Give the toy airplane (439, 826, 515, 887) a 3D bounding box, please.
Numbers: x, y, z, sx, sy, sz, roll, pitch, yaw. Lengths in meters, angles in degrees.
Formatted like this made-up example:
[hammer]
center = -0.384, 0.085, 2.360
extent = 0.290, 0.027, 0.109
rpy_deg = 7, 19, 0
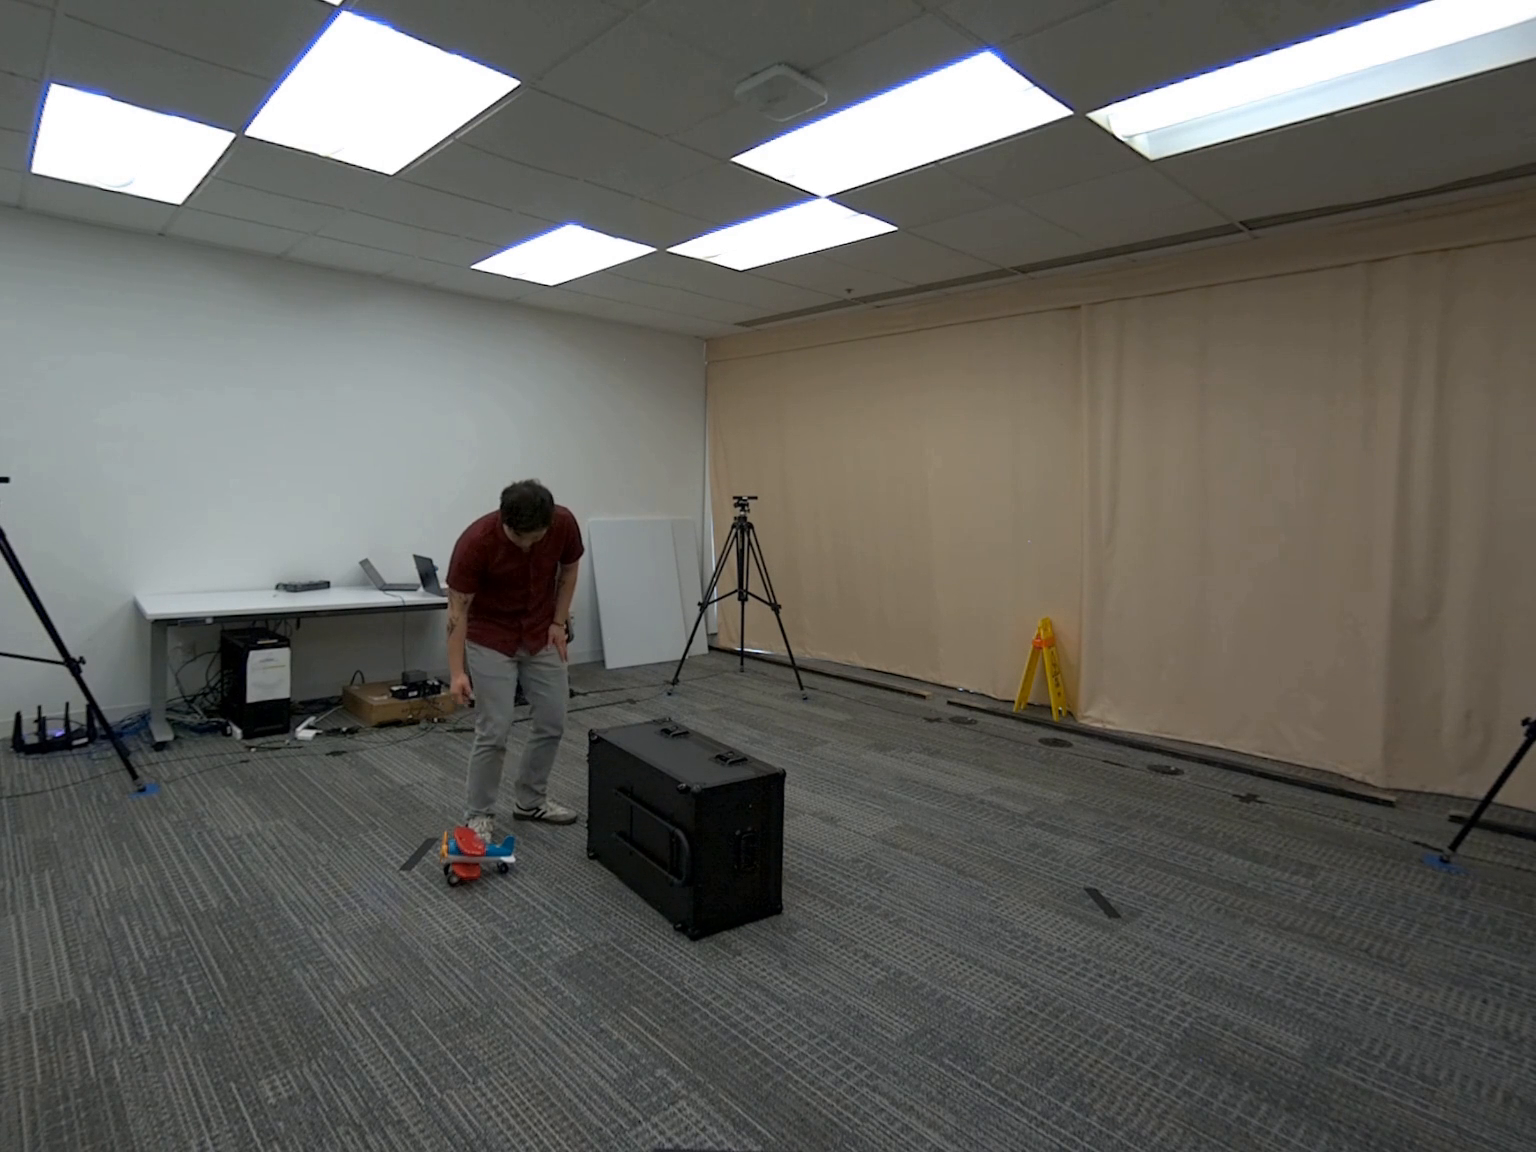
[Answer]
[toy airplane]
center = -1.062, 1.006, 3.060
extent = 0.257, 0.156, 0.254
rpy_deg = 4, 7, 33
